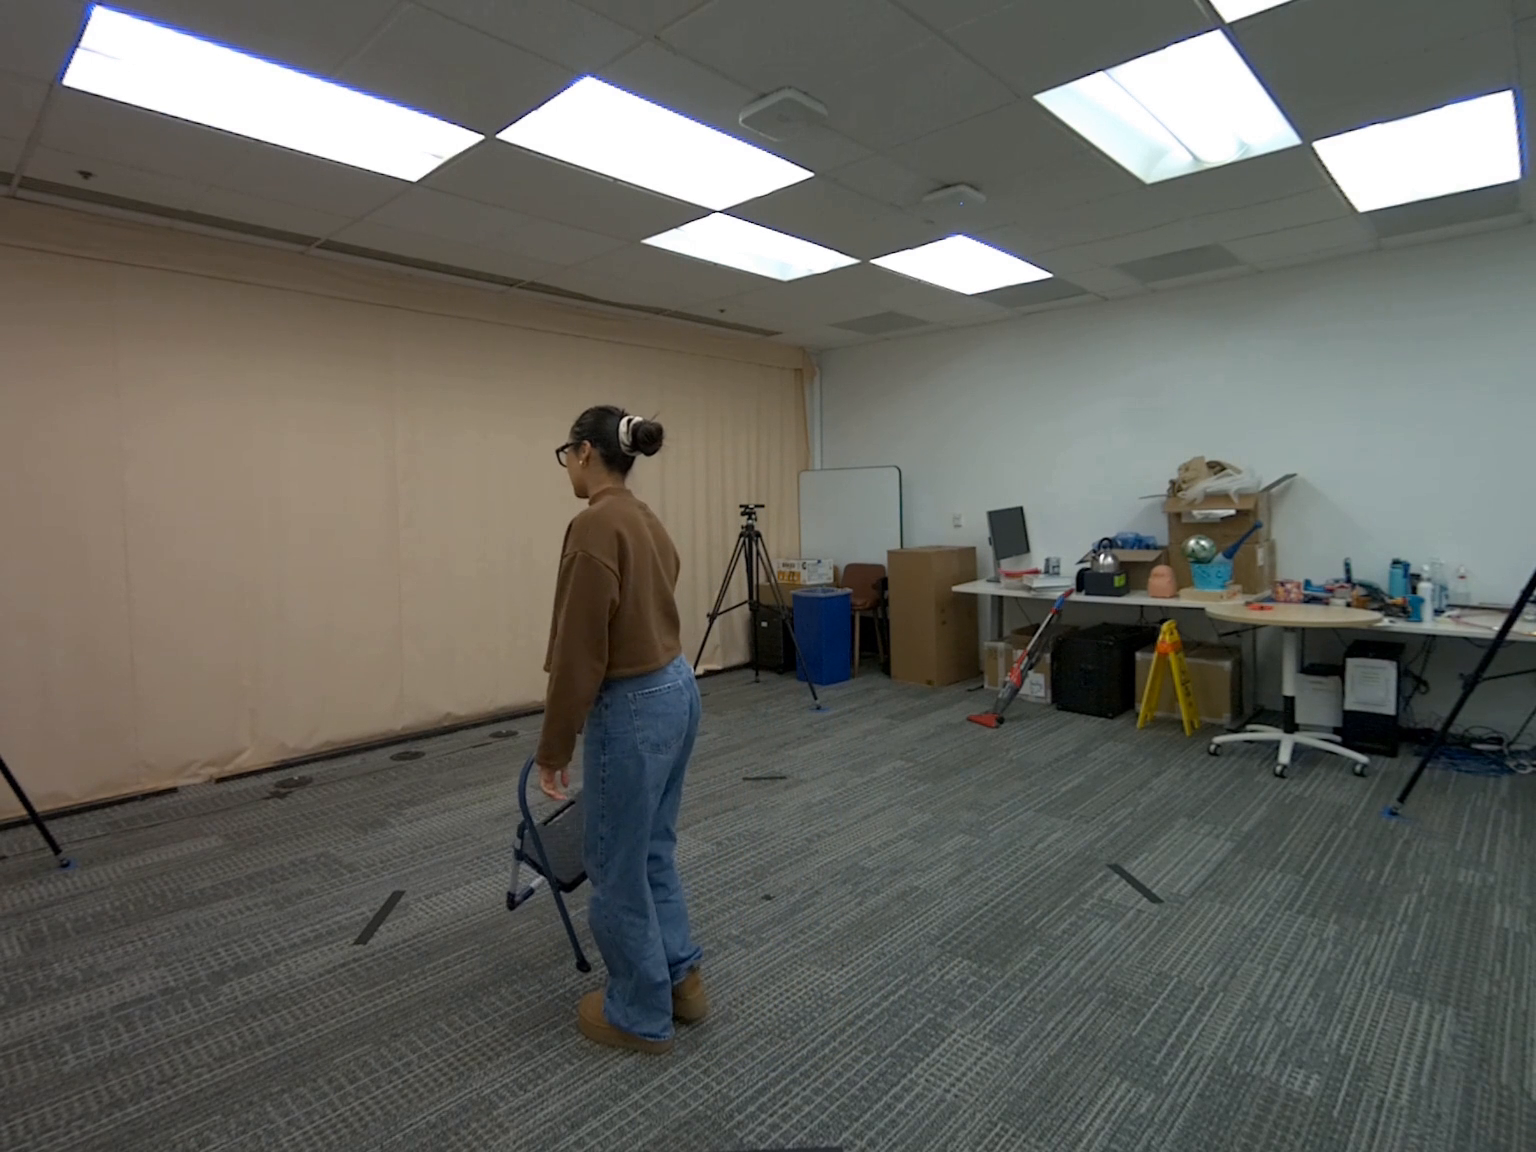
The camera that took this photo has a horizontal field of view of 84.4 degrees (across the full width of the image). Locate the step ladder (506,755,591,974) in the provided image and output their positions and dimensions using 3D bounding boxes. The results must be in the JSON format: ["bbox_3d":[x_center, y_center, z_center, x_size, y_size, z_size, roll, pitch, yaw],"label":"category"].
[{"bbox_3d":[-0.531,0.732,2.484,0.361,0.597,0.423,19,31,30],"label":"step ladder"}]
